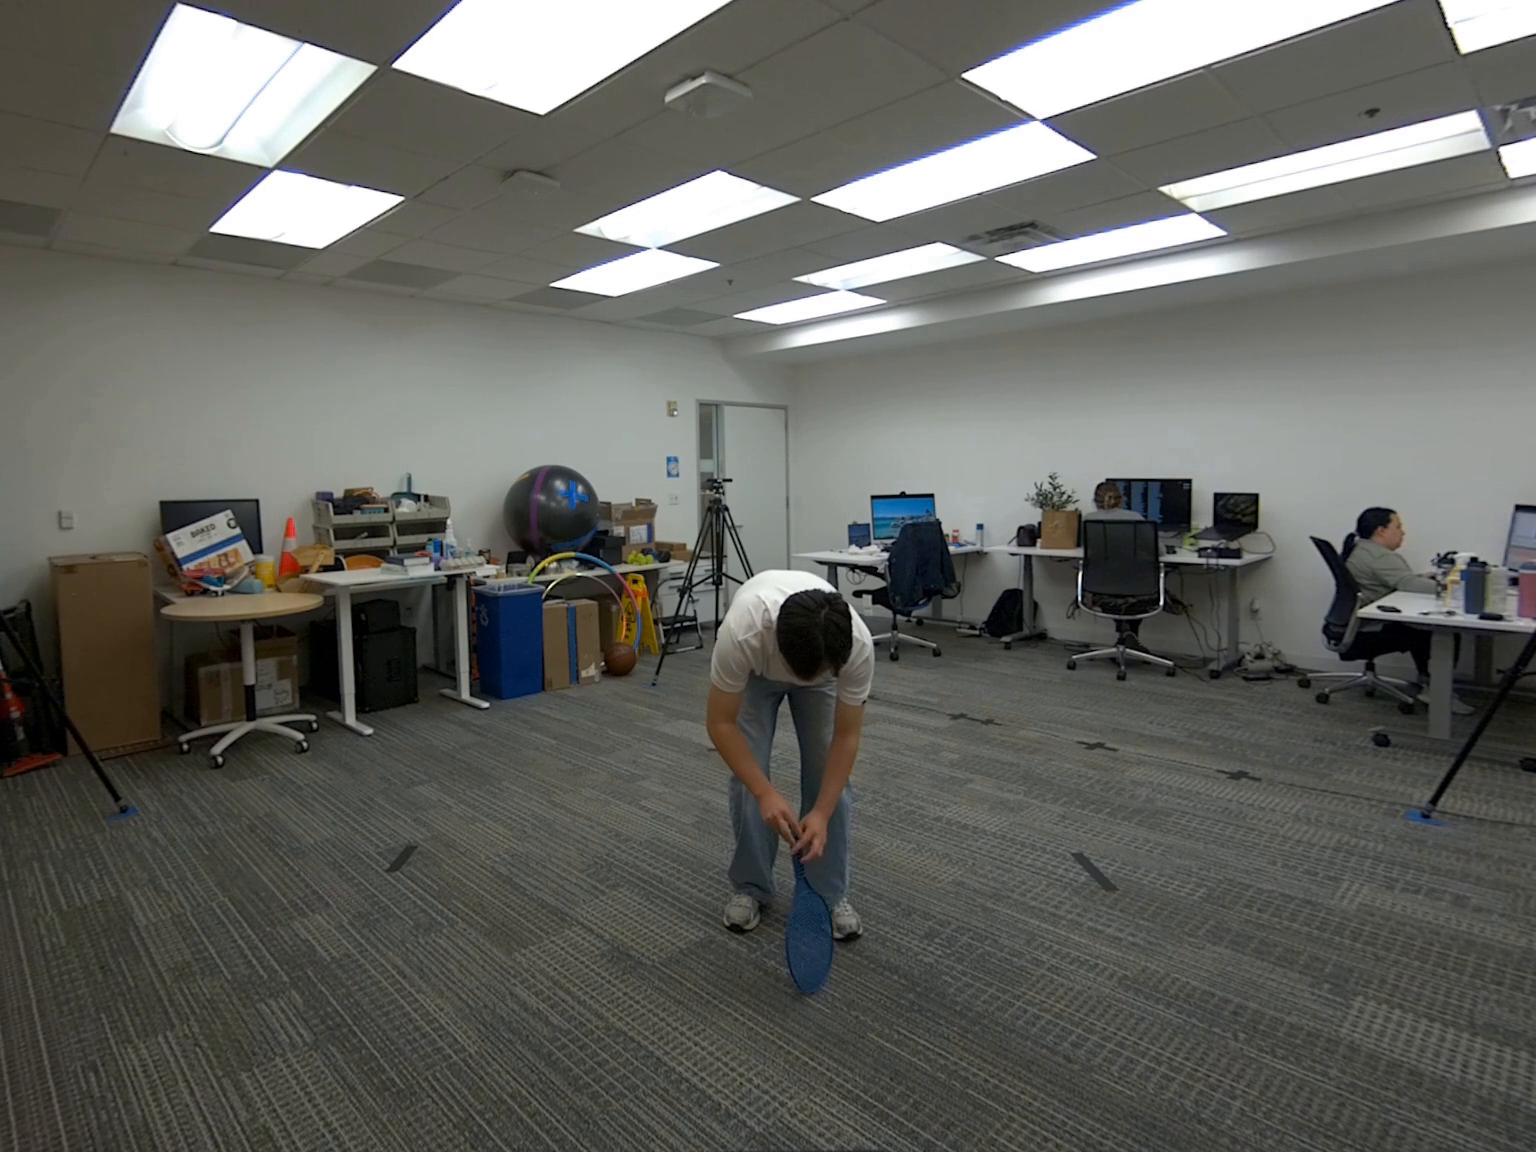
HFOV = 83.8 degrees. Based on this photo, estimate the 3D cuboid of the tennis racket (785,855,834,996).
[{"bbox_3d":[0.108,0.918,2.348,0.032,0.432,0.209,-6,2,39],"label":"tennis racket"}]
